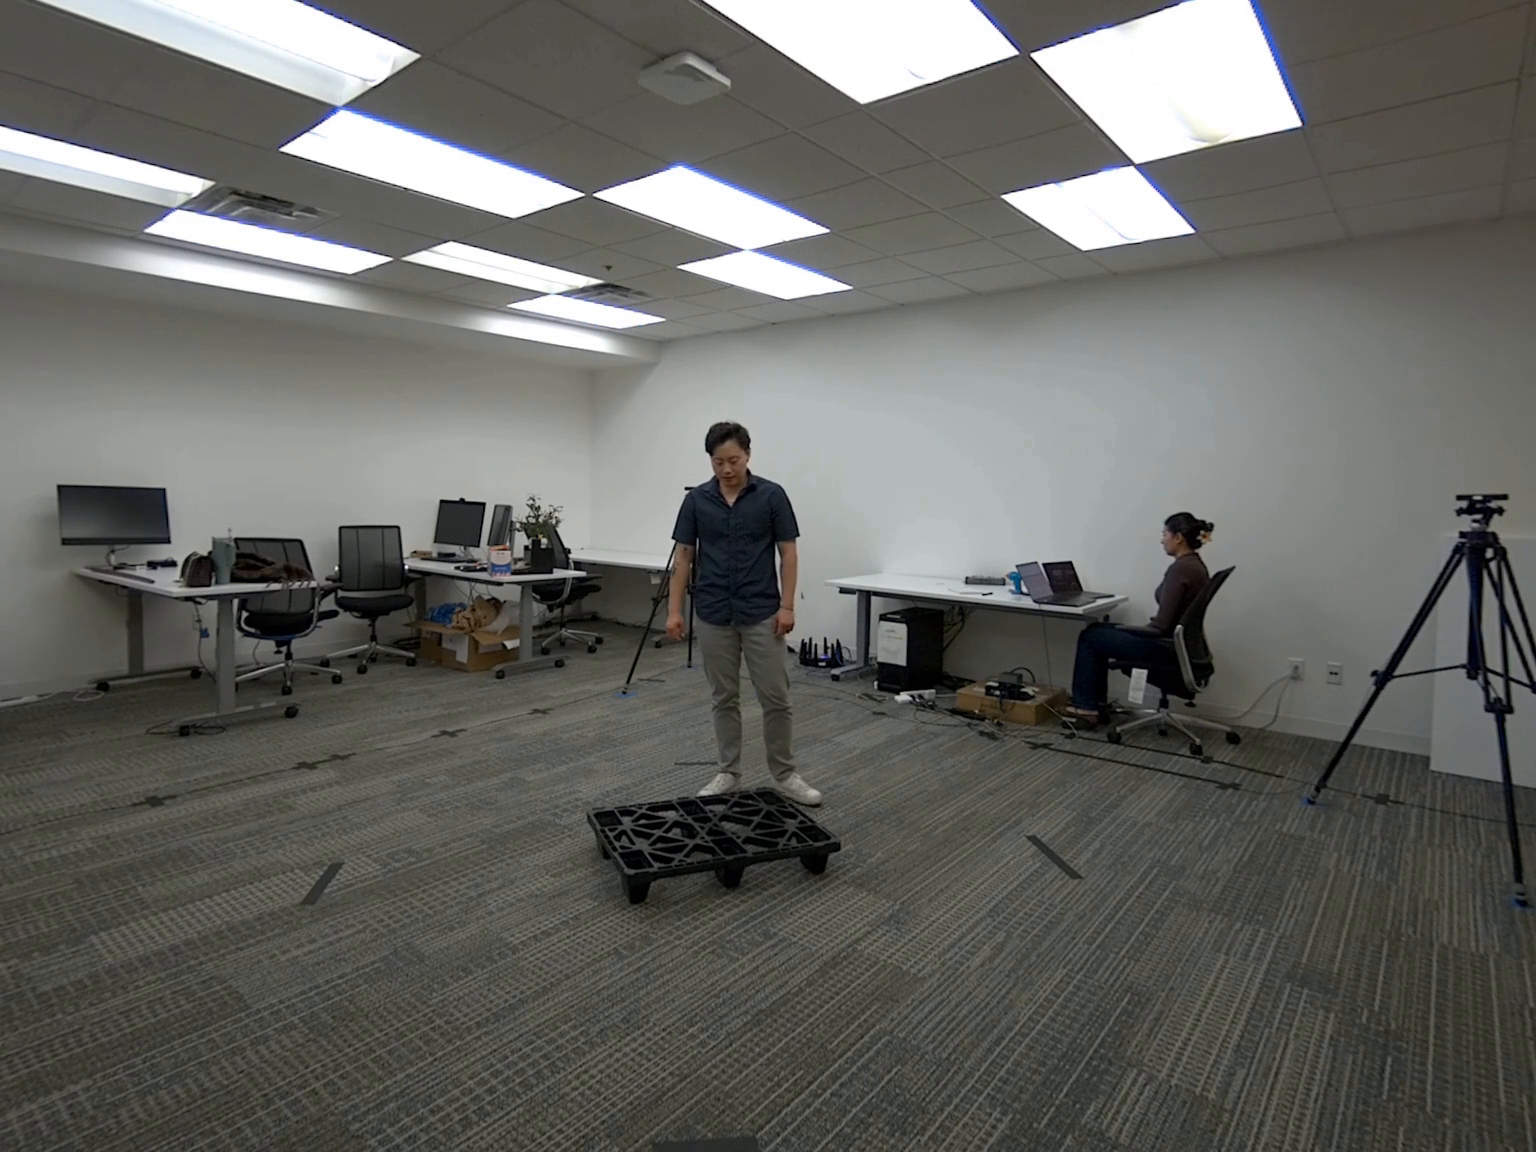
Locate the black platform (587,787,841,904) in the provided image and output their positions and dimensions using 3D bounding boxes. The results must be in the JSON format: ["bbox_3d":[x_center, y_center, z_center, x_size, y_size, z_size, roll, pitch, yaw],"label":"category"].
[{"bbox_3d":[-0.226,0.990,3.170,0.788,0.143,0.621,-2,7,-23],"label":"black platform"}]
